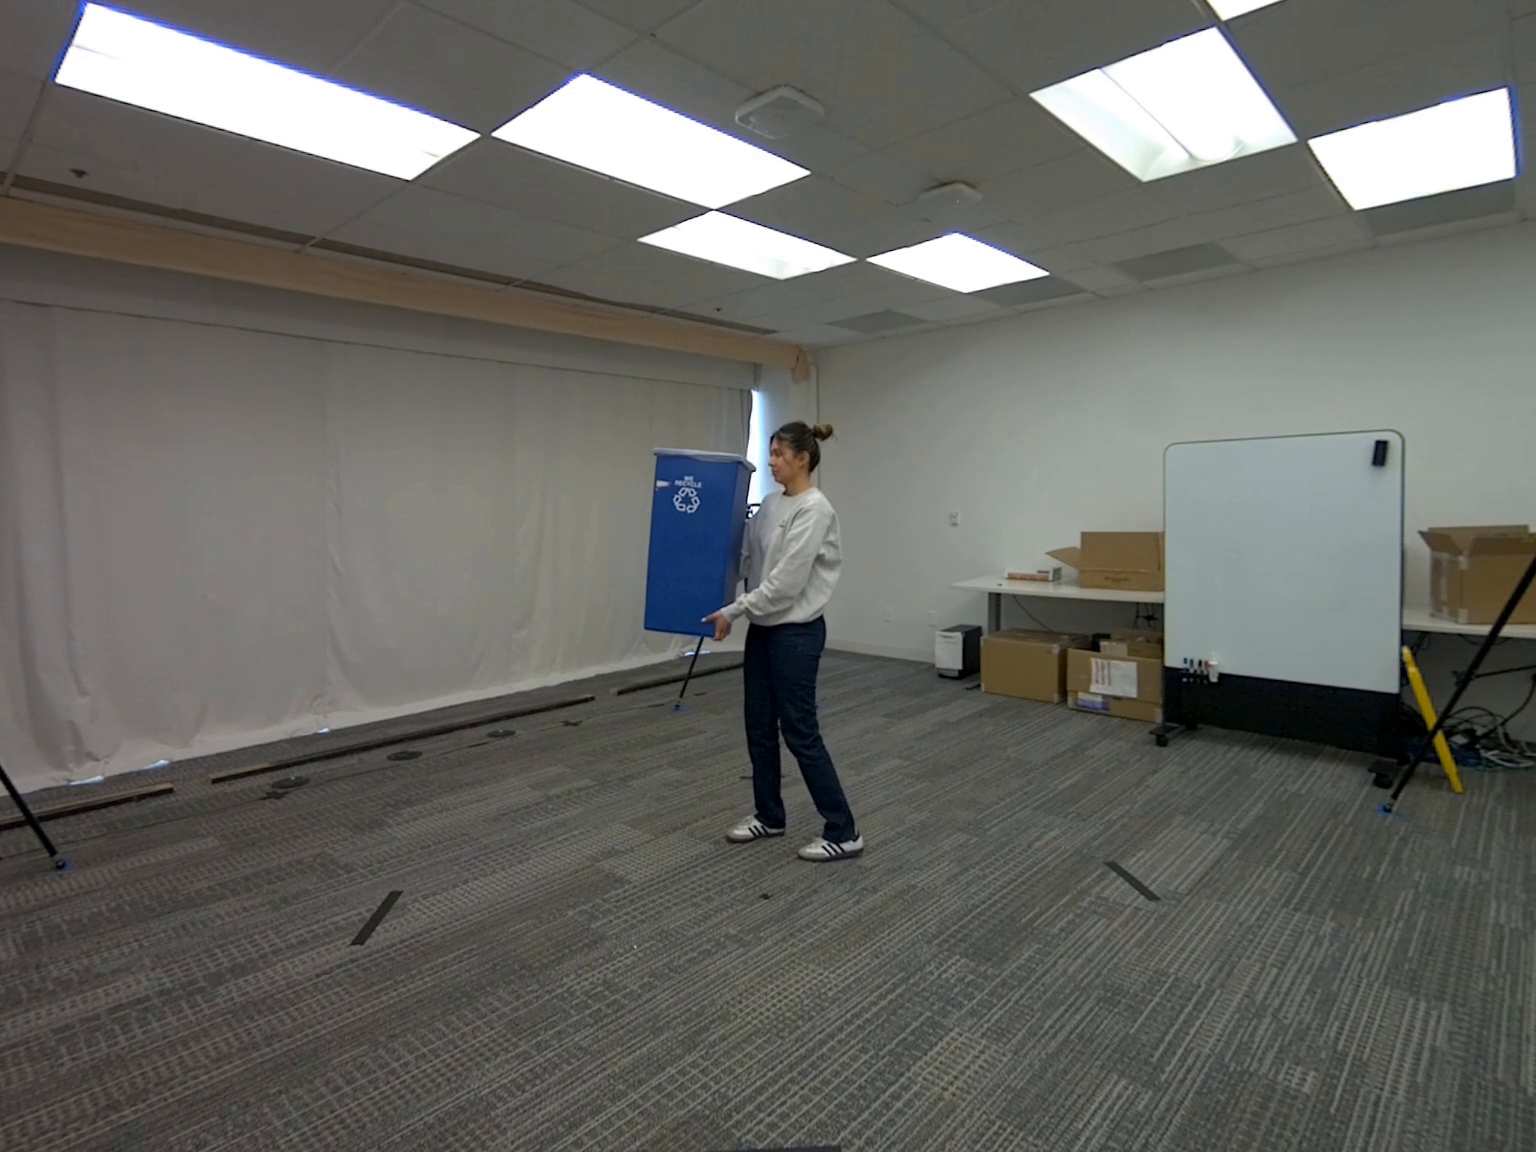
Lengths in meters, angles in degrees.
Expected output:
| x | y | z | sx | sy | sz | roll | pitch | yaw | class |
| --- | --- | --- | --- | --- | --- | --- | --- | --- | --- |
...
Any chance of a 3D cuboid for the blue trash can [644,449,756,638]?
| x | y | z | sx | sy | sz | roll | pitch | yaw | class |
| --- | --- | --- | --- | --- | --- | --- | --- | --- | --- |
| -0.276 | -0.130 | 3.432 | 0.378 | 0.713 | 0.374 | 5 | 0 | 9 | blue trash can |
